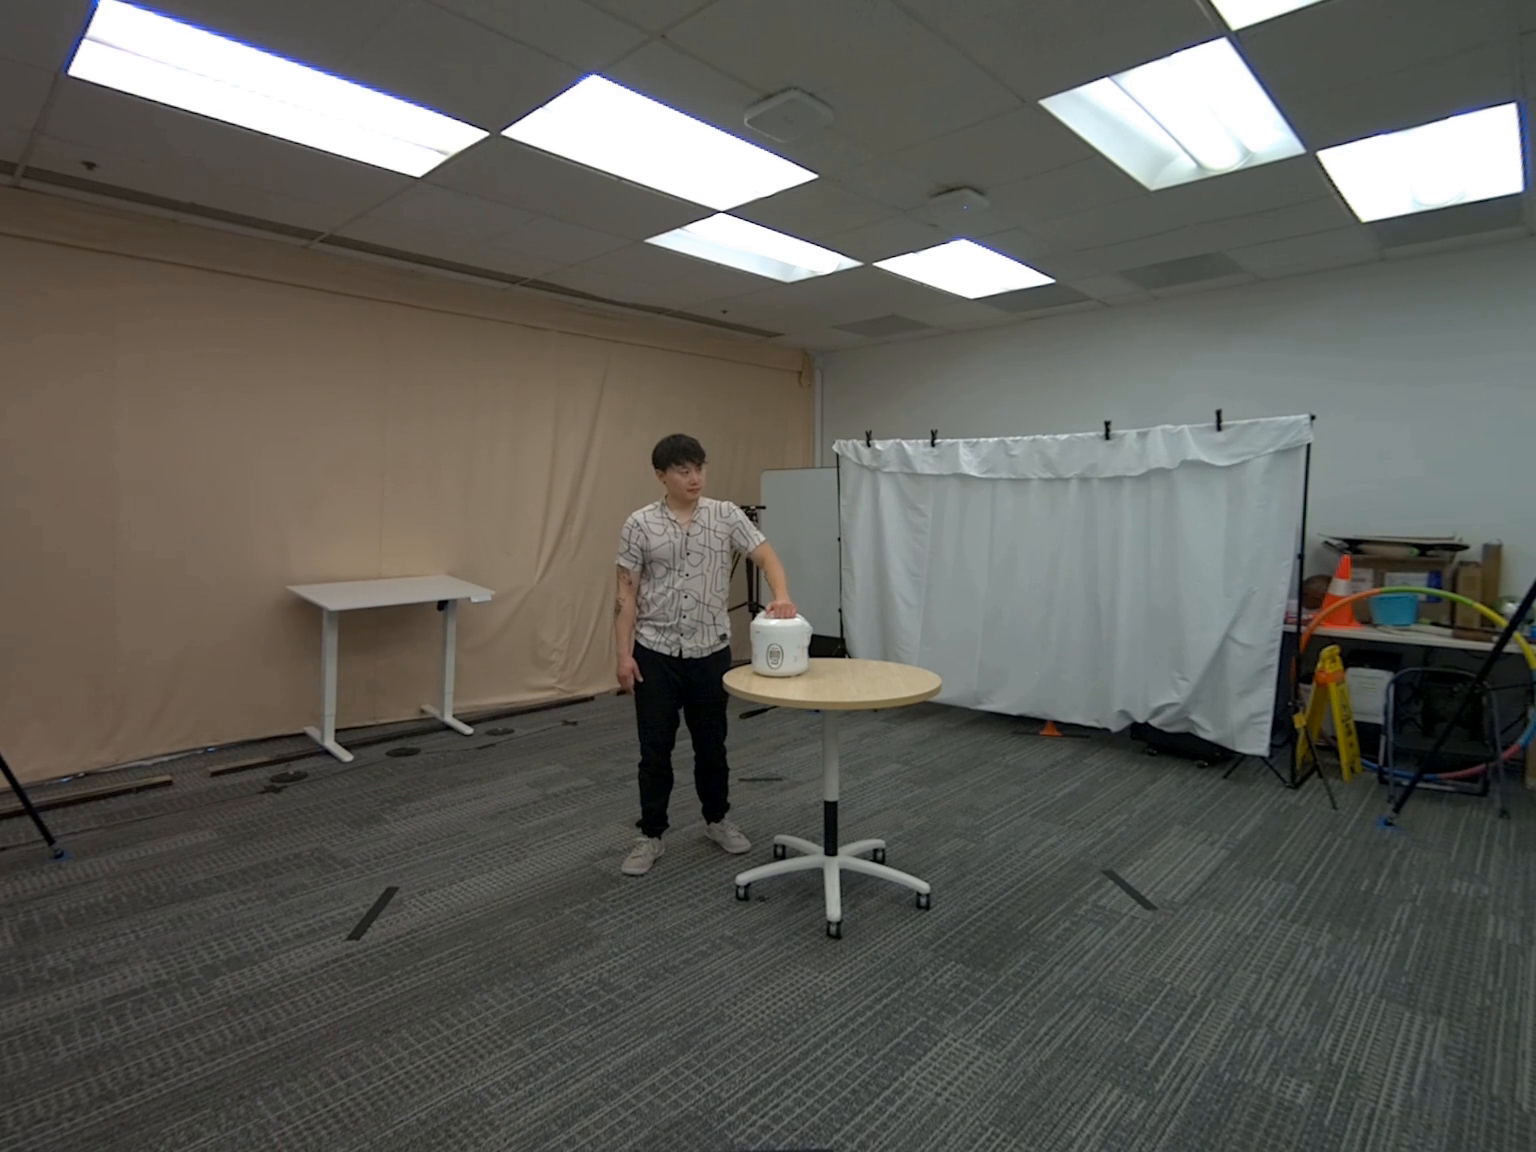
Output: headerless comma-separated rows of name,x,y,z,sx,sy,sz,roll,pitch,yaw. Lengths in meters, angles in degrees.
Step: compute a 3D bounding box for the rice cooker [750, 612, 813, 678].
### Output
rice cooker,0.048,0.239,3.067,0.224,0.232,0.215,0,3,13
